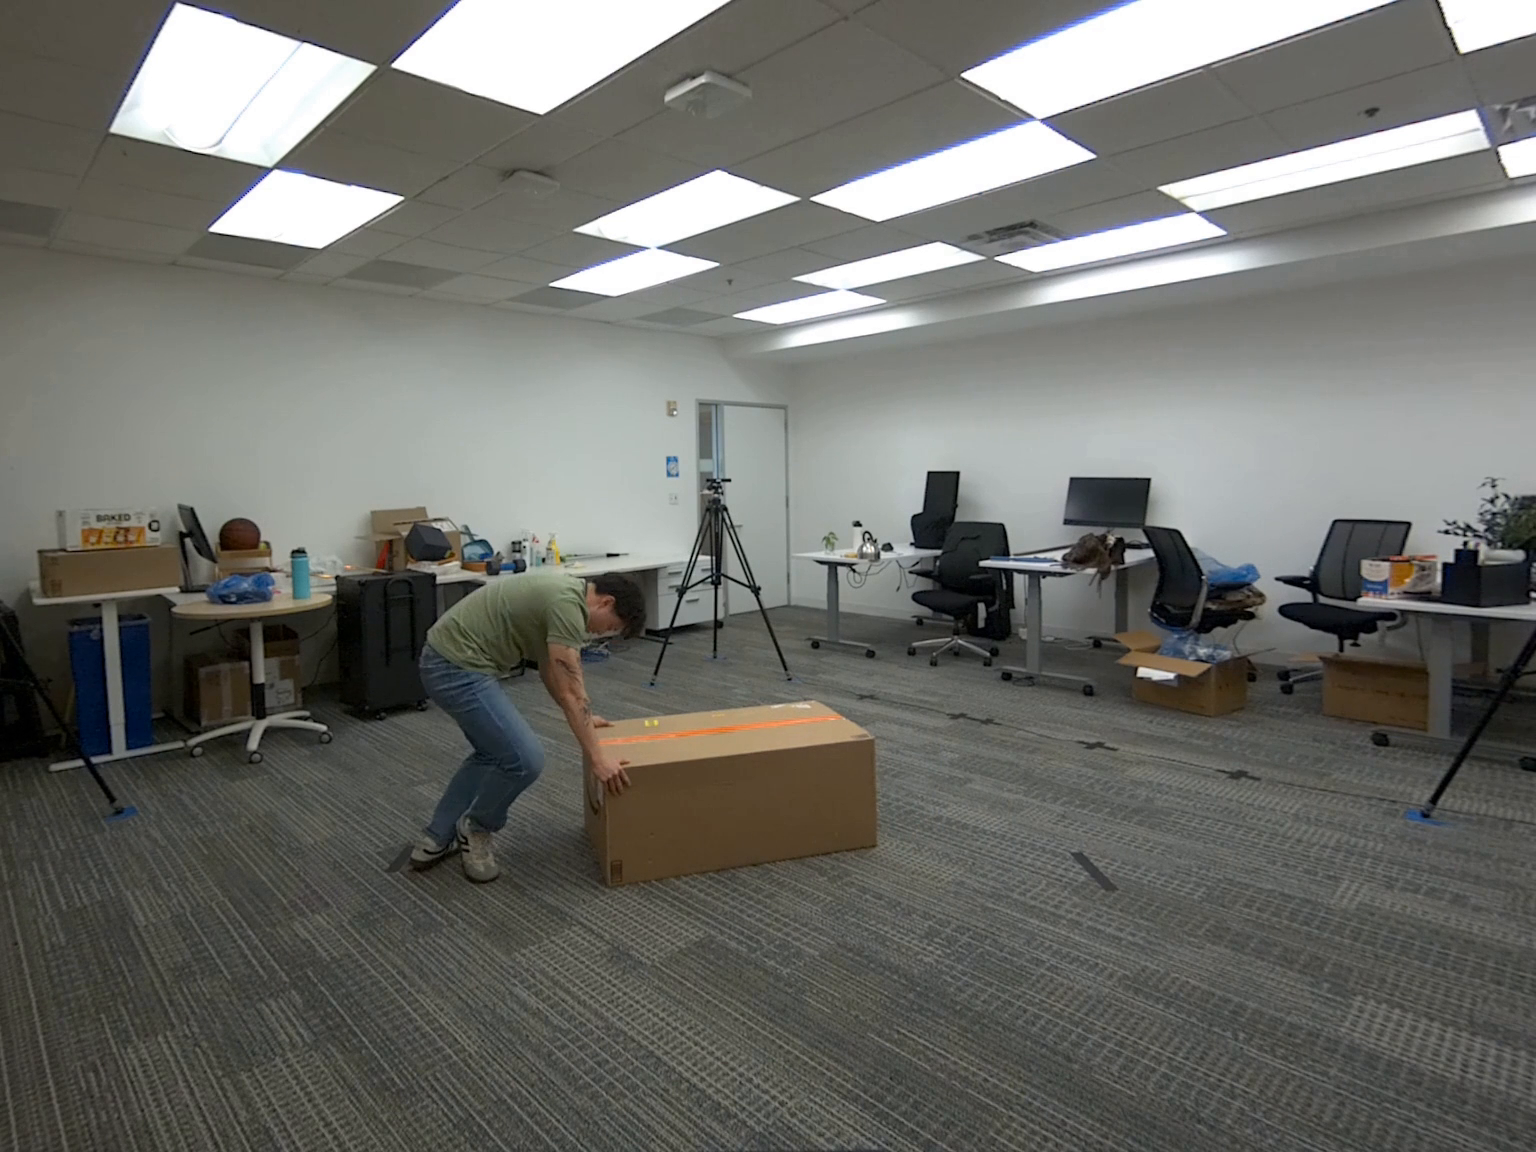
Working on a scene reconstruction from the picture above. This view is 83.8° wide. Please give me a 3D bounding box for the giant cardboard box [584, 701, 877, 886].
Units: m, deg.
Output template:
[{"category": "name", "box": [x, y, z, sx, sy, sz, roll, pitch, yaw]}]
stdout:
[{"category": "giant cardboard box", "box": [-0.168, 0.806, 3.341, 1.010, 0.424, 0.589, -3, 5, -18]}]
